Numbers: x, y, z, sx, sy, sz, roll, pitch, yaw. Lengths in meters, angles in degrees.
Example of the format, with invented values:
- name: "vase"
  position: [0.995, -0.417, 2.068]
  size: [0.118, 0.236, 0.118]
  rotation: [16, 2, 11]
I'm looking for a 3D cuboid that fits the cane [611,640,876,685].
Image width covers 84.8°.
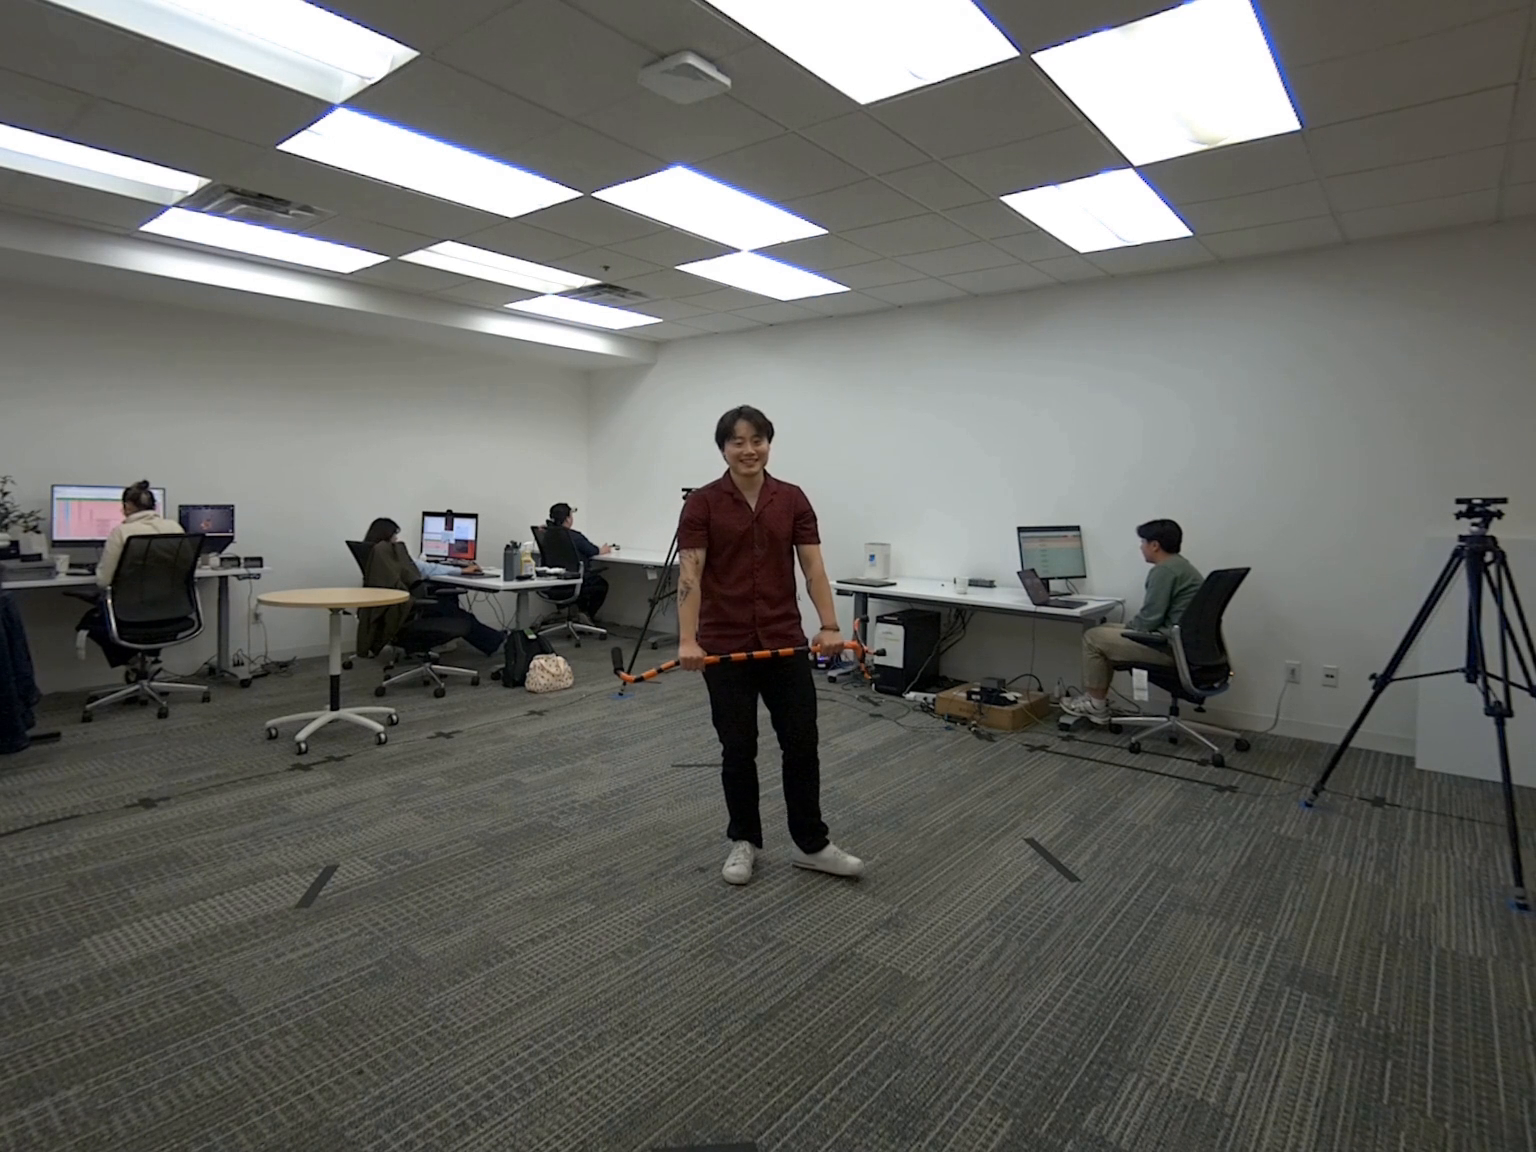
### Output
- name: "cane"
  position: [-0.081, 0.300, 2.888]
  size: [0.897, 0.148, 0.214]
  rotation: [-5, 43, -12]
